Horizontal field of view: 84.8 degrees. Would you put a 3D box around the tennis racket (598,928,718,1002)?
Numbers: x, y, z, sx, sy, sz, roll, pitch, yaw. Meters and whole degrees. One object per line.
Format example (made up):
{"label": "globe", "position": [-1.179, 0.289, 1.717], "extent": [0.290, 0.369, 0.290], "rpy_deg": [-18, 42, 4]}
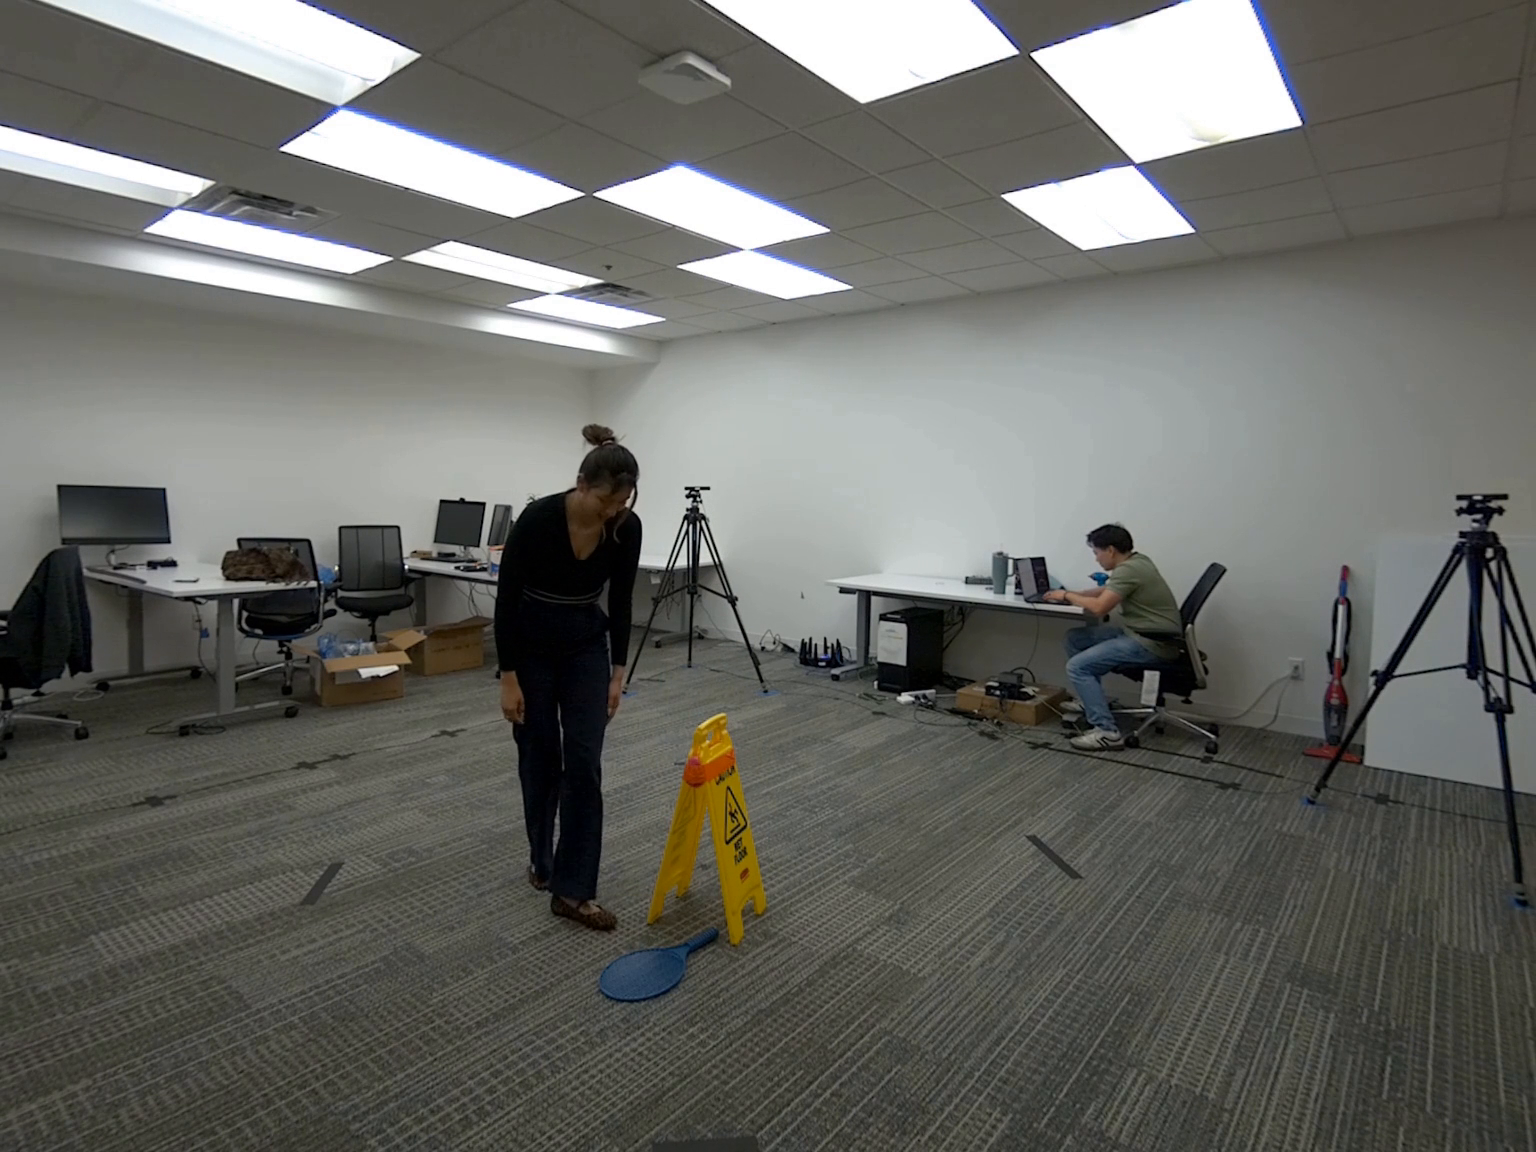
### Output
{"label": "tennis racket", "position": [-0.306, 1.117, 2.469], "extent": [0.221, 0.031, 0.421], "rpy_deg": [6, 9, 42]}
